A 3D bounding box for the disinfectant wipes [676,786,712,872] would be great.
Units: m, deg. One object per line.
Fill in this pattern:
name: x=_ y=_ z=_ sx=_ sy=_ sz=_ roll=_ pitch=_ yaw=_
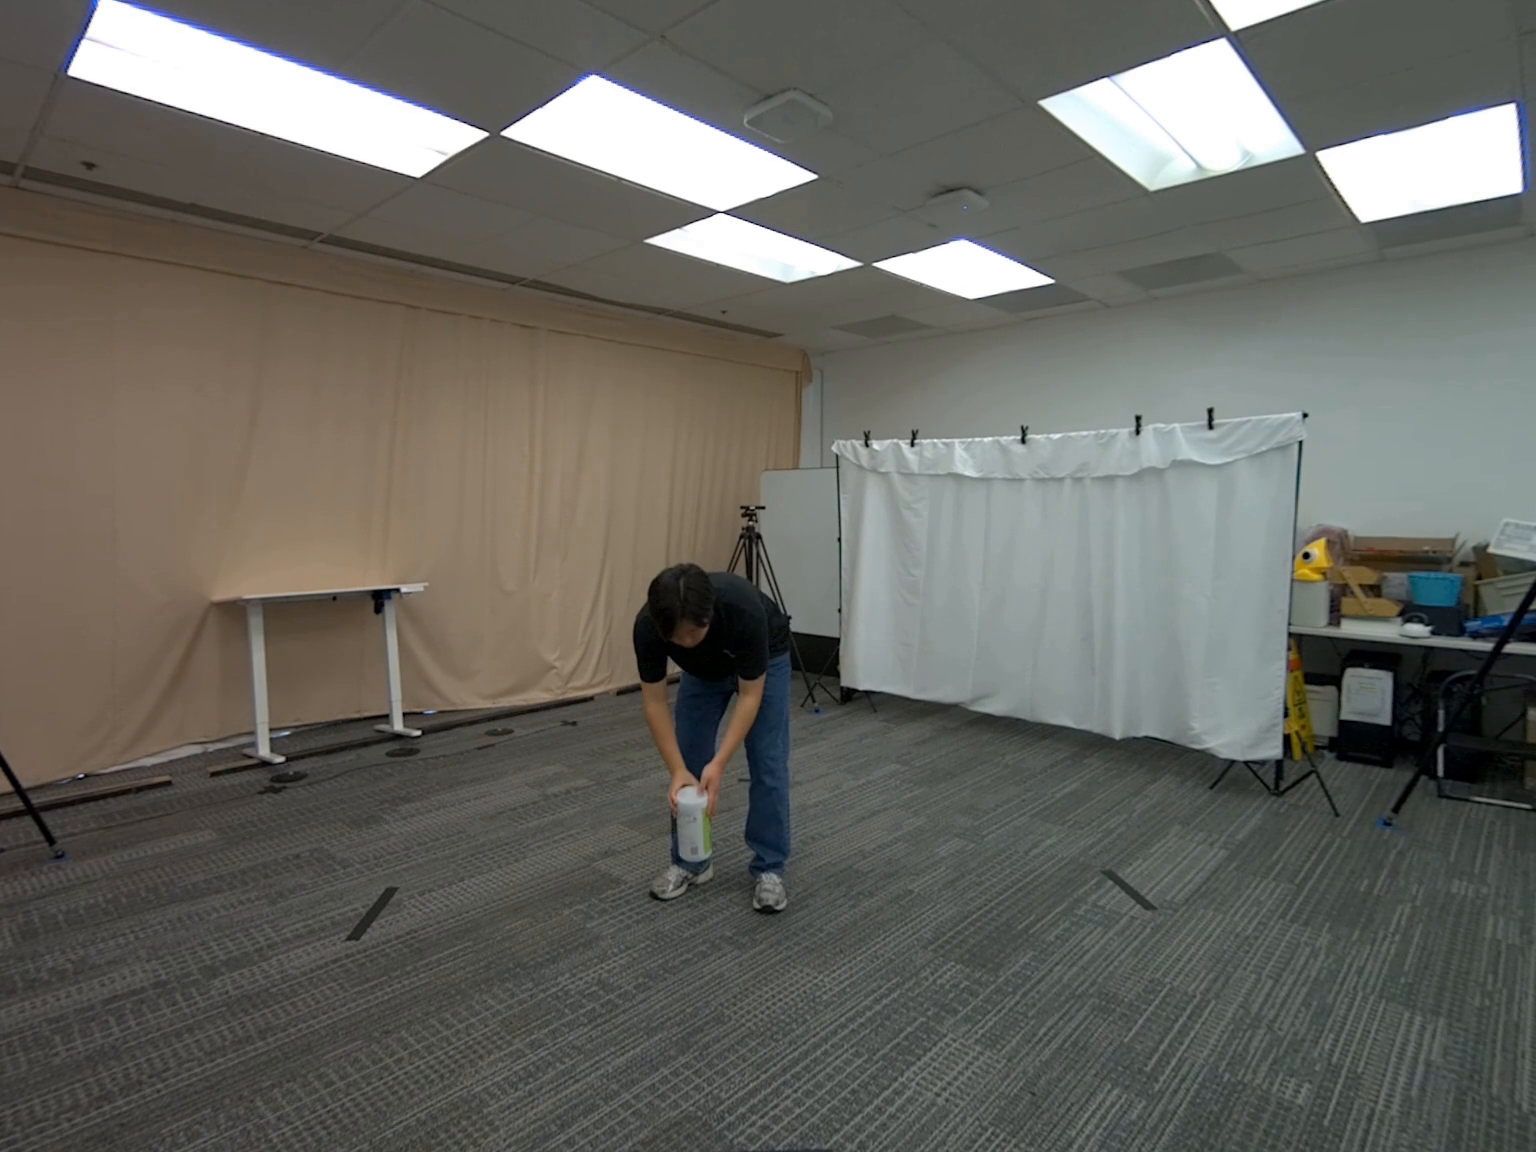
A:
disinfectant wipes: x=-0.240 y=0.787 z=2.711 sx=0.118 sy=0.215 sz=0.119 roll=-2 pitch=13 yaw=-1
